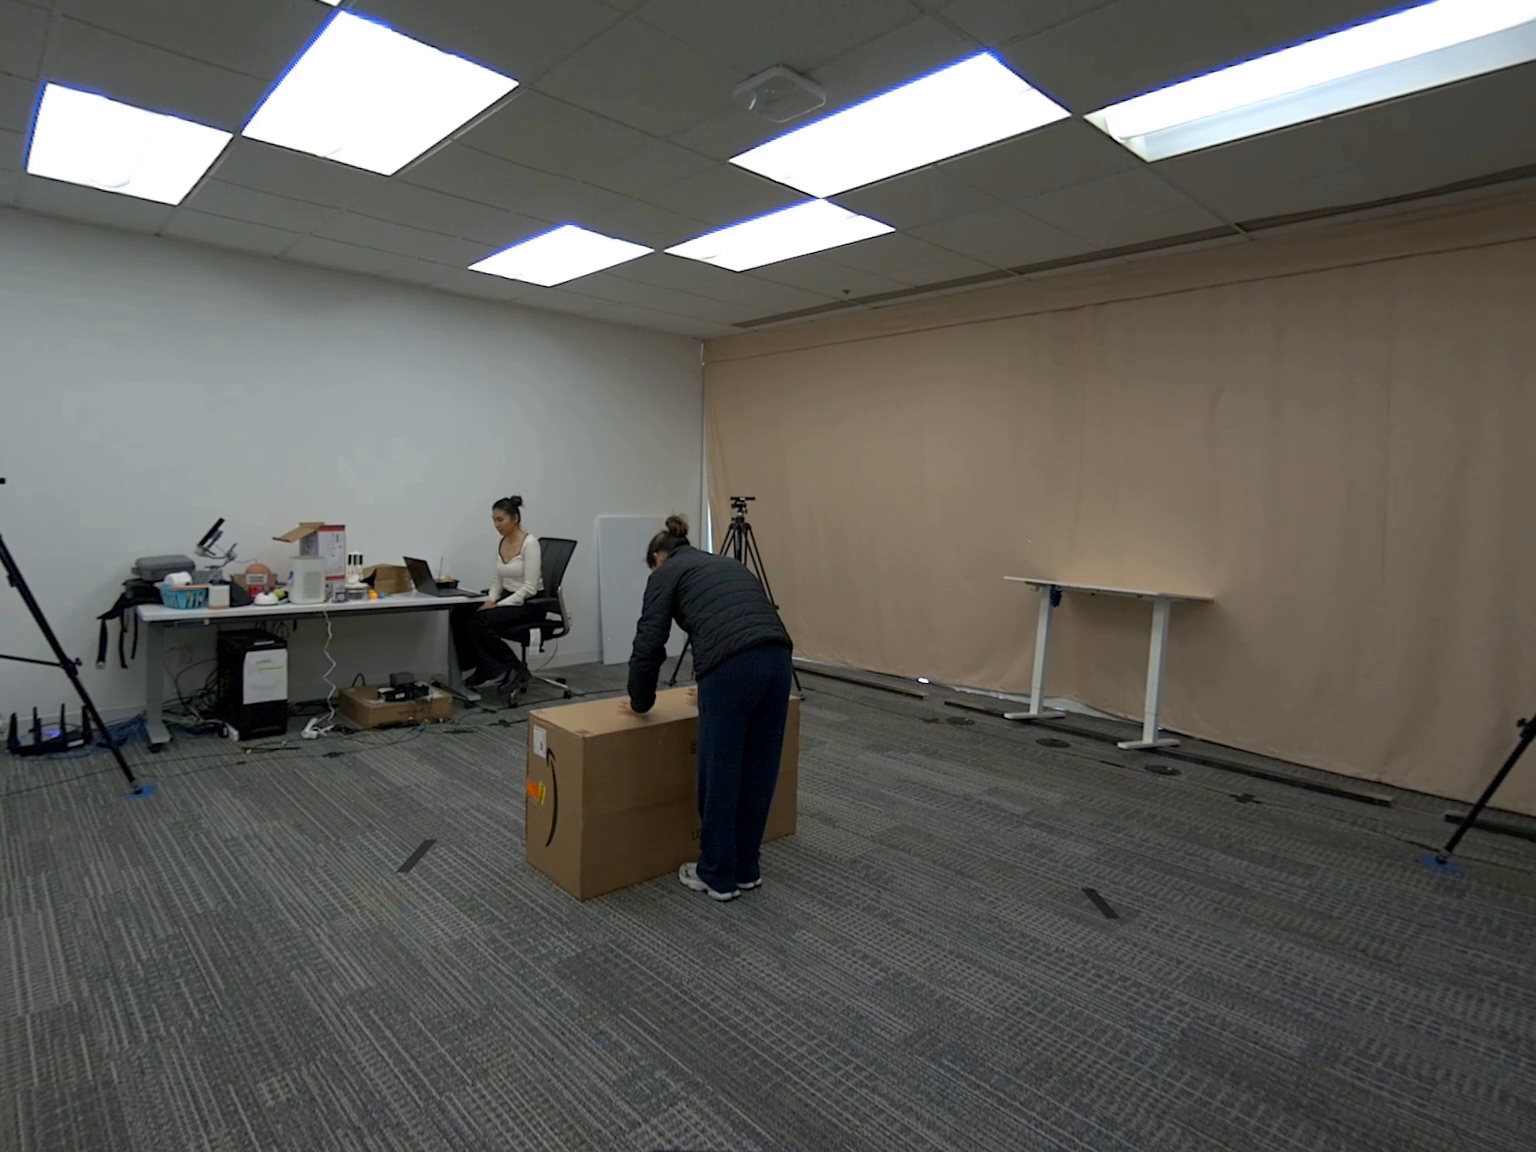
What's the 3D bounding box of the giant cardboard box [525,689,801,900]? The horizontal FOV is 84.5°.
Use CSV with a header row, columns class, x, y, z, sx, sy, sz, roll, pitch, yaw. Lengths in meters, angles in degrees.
class,x,y,z,sx,sy,sz,roll,pitch,yaw
giant cardboard box,-0.402,0.794,3.337,1.004,0.582,0.458,-2,6,-40
